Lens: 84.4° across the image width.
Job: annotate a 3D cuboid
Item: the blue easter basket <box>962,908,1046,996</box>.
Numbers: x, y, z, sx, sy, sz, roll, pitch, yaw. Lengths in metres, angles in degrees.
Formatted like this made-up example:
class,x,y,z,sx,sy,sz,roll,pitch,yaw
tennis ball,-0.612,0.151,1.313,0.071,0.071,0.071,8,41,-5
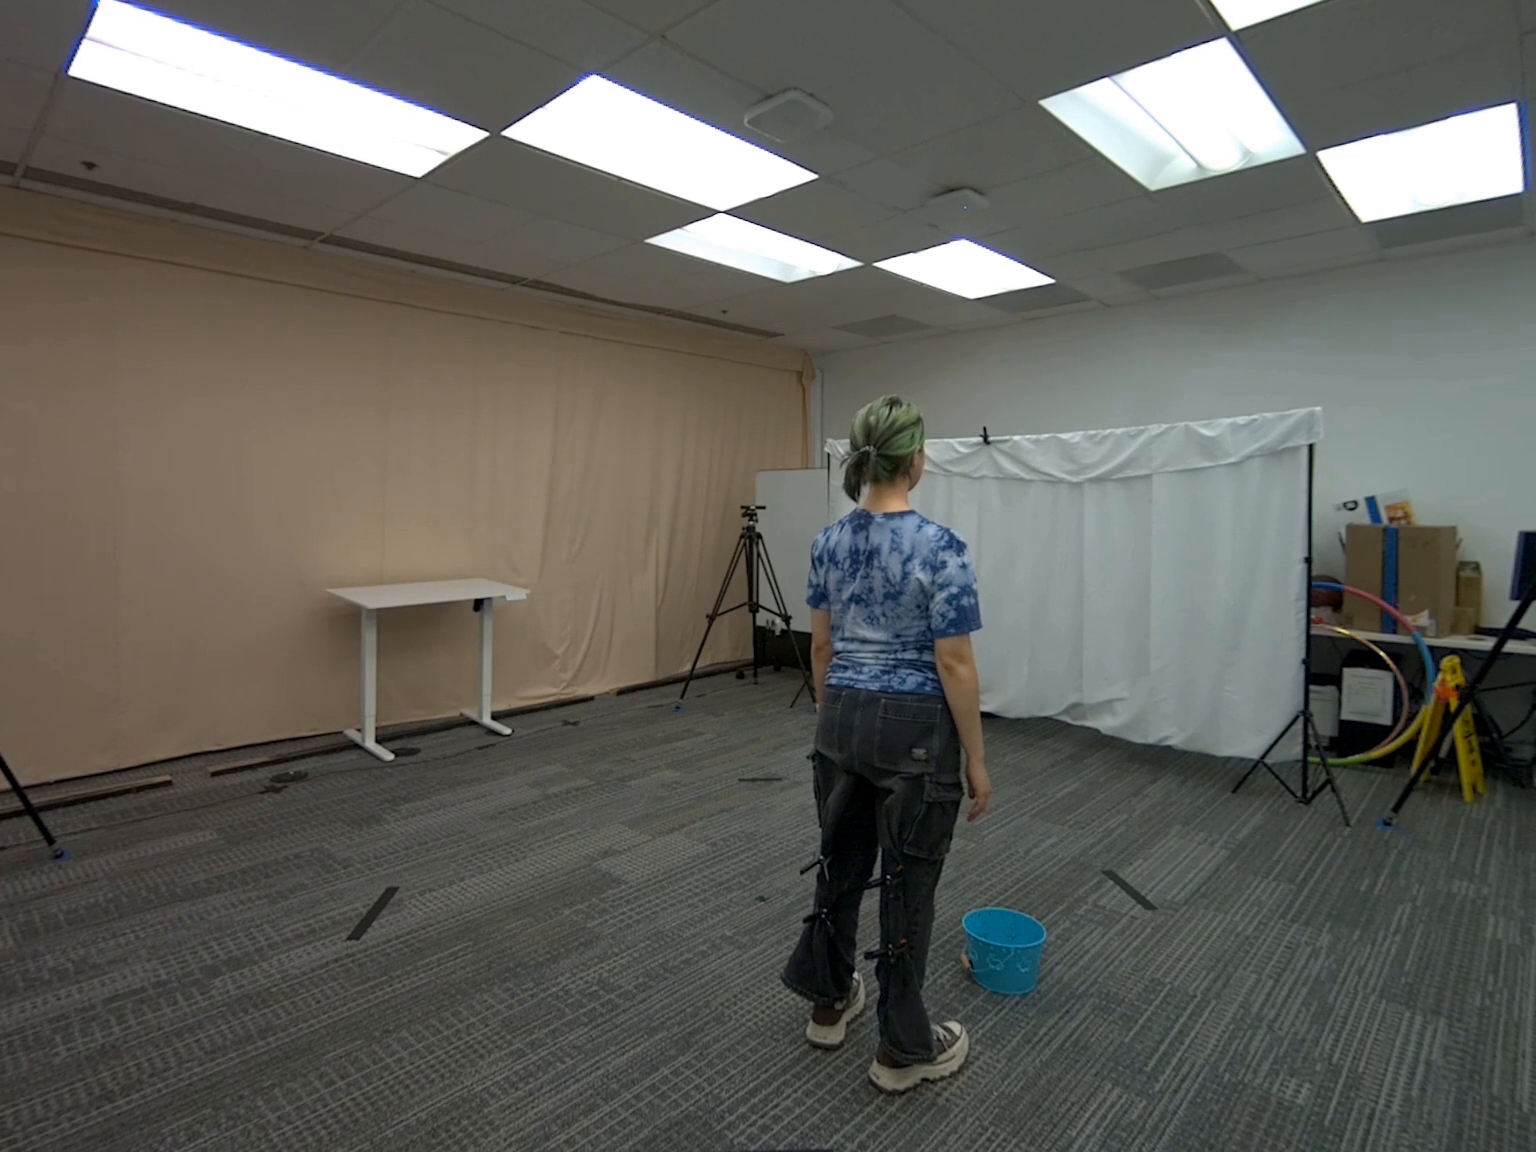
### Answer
class,x,y,z,sx,sy,sz,roll,pitch,yaw
blue easter basket,0.698,1.106,2.483,0.243,0.155,0.244,0,3,-2
